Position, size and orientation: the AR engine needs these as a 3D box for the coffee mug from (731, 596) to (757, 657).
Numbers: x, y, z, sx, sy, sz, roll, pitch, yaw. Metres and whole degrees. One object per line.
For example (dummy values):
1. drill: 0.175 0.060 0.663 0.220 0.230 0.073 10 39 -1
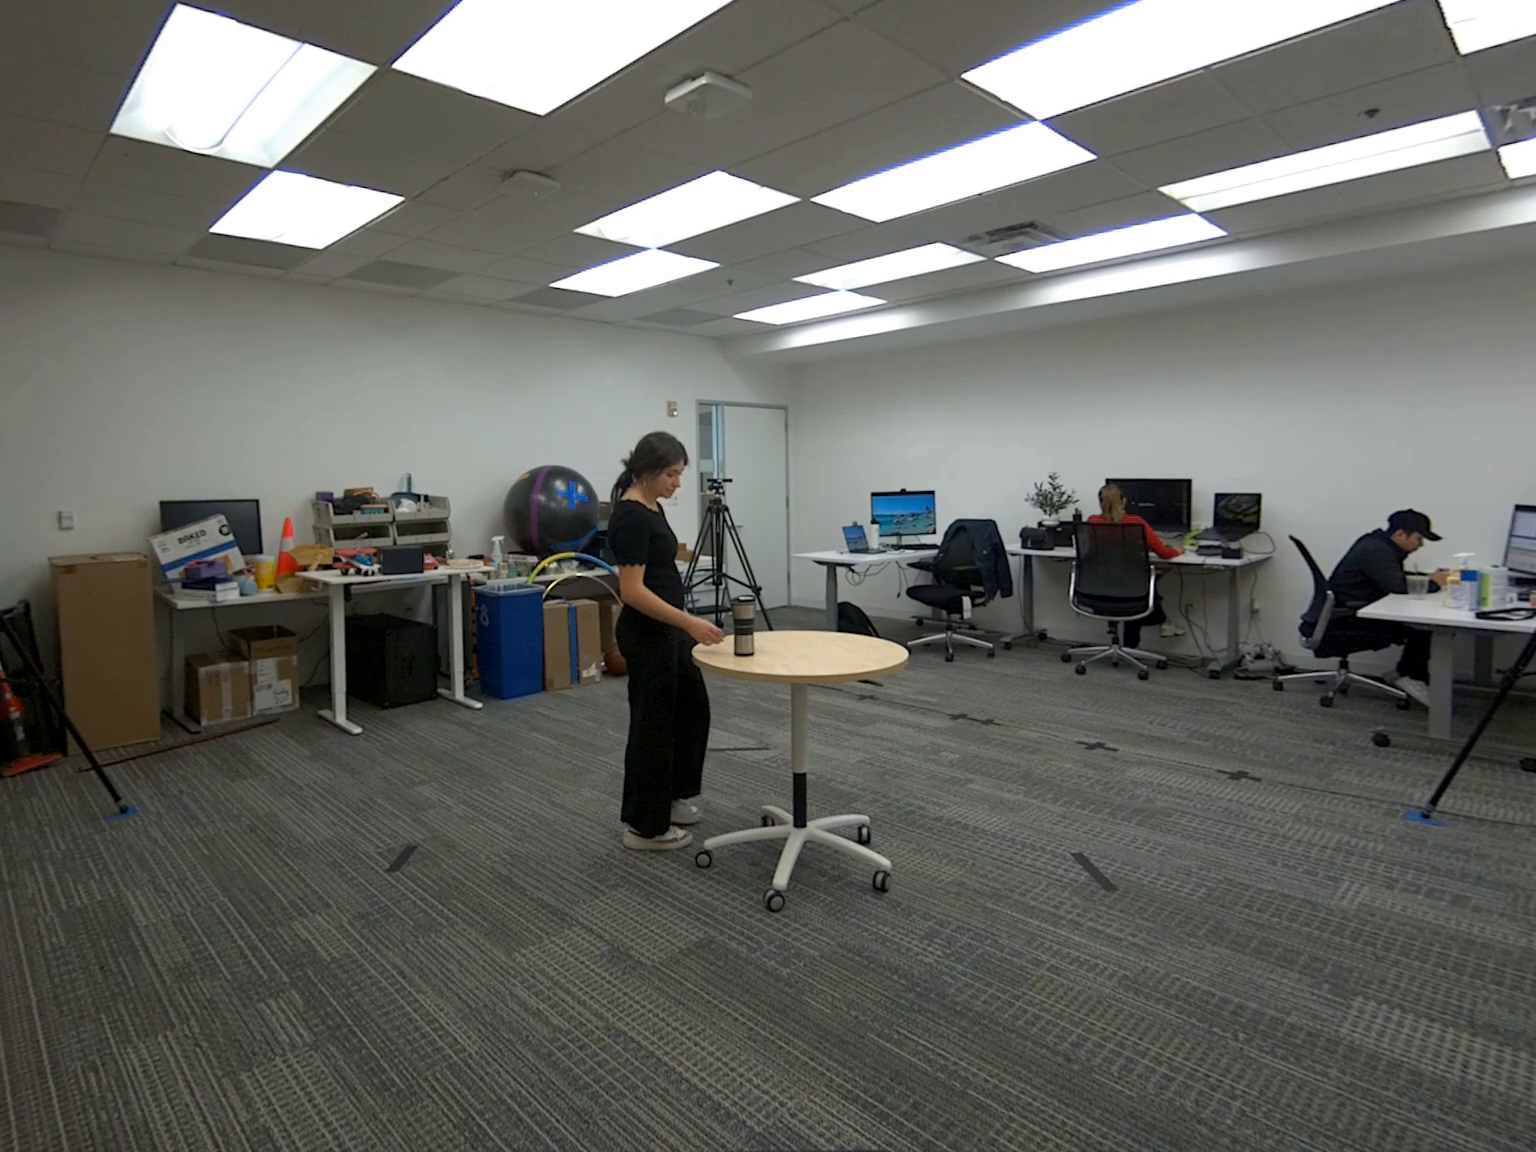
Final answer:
1. coffee mug: -0.073 0.173 2.985 0.090 0.202 0.119 0 7 43
